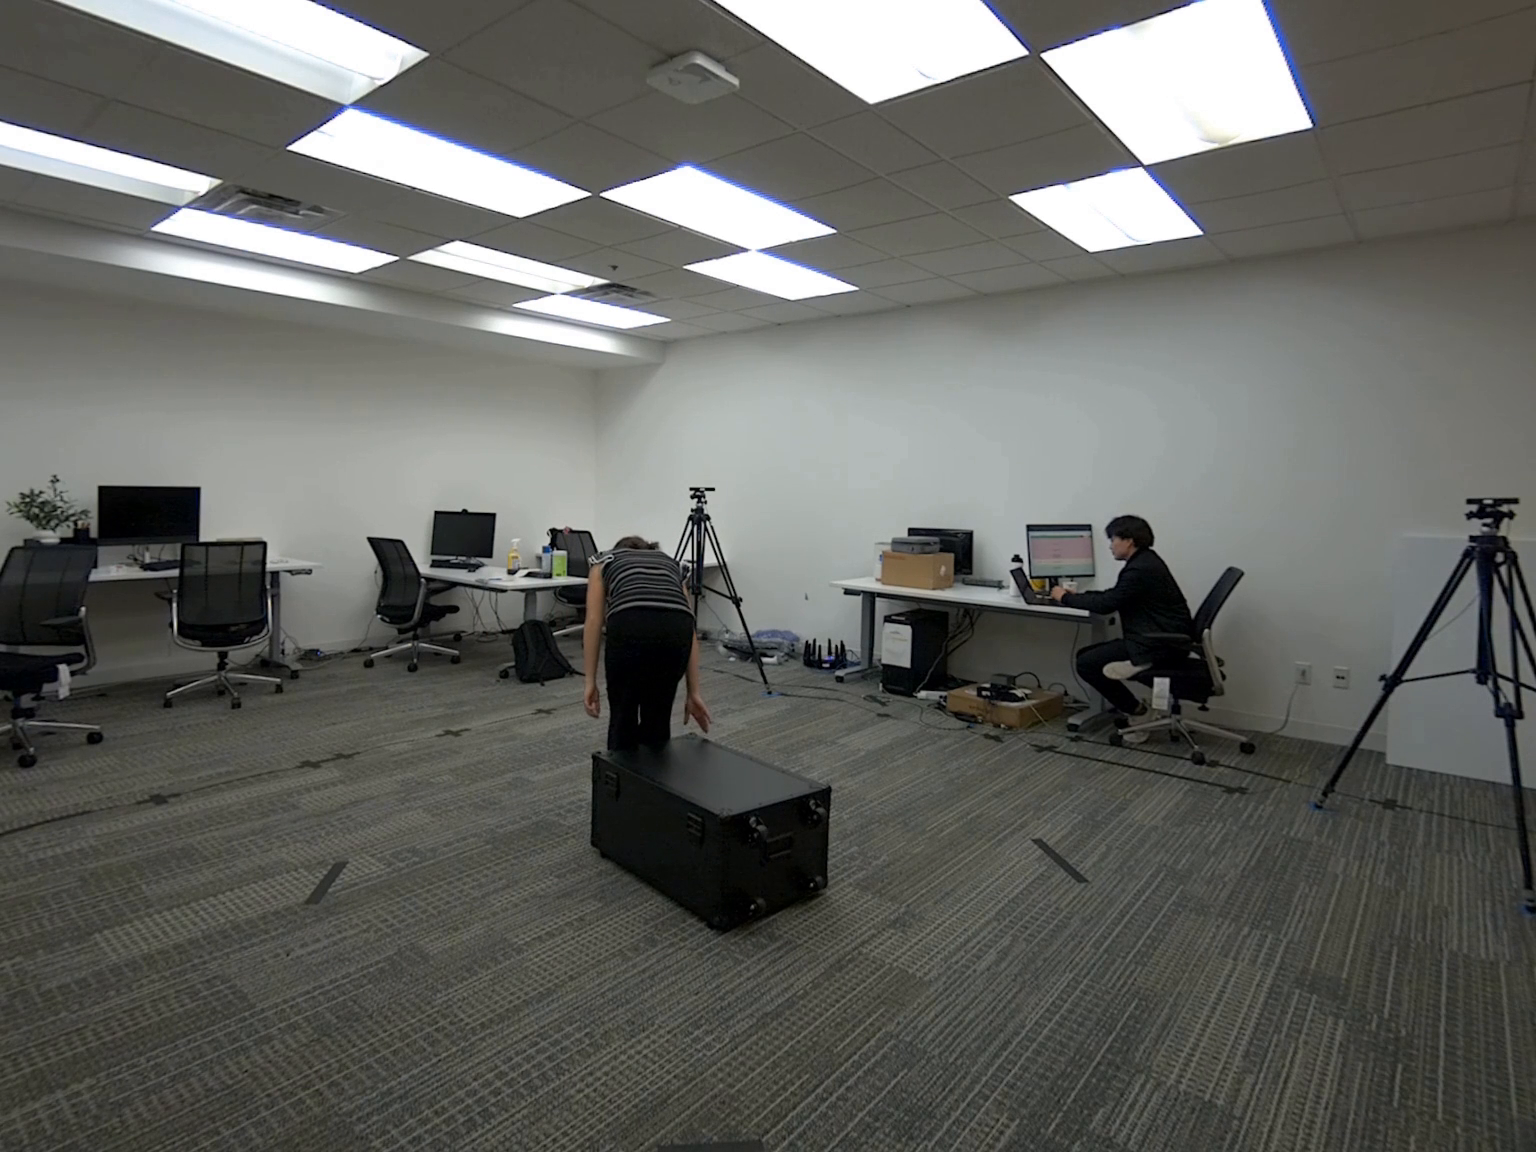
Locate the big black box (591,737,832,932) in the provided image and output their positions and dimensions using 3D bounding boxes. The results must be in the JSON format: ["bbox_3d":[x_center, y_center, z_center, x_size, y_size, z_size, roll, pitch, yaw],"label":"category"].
[{"bbox_3d":[-0.216,0.881,3.041,0.505,0.395,0.891,-3,5,-41],"label":"big black box"}]
